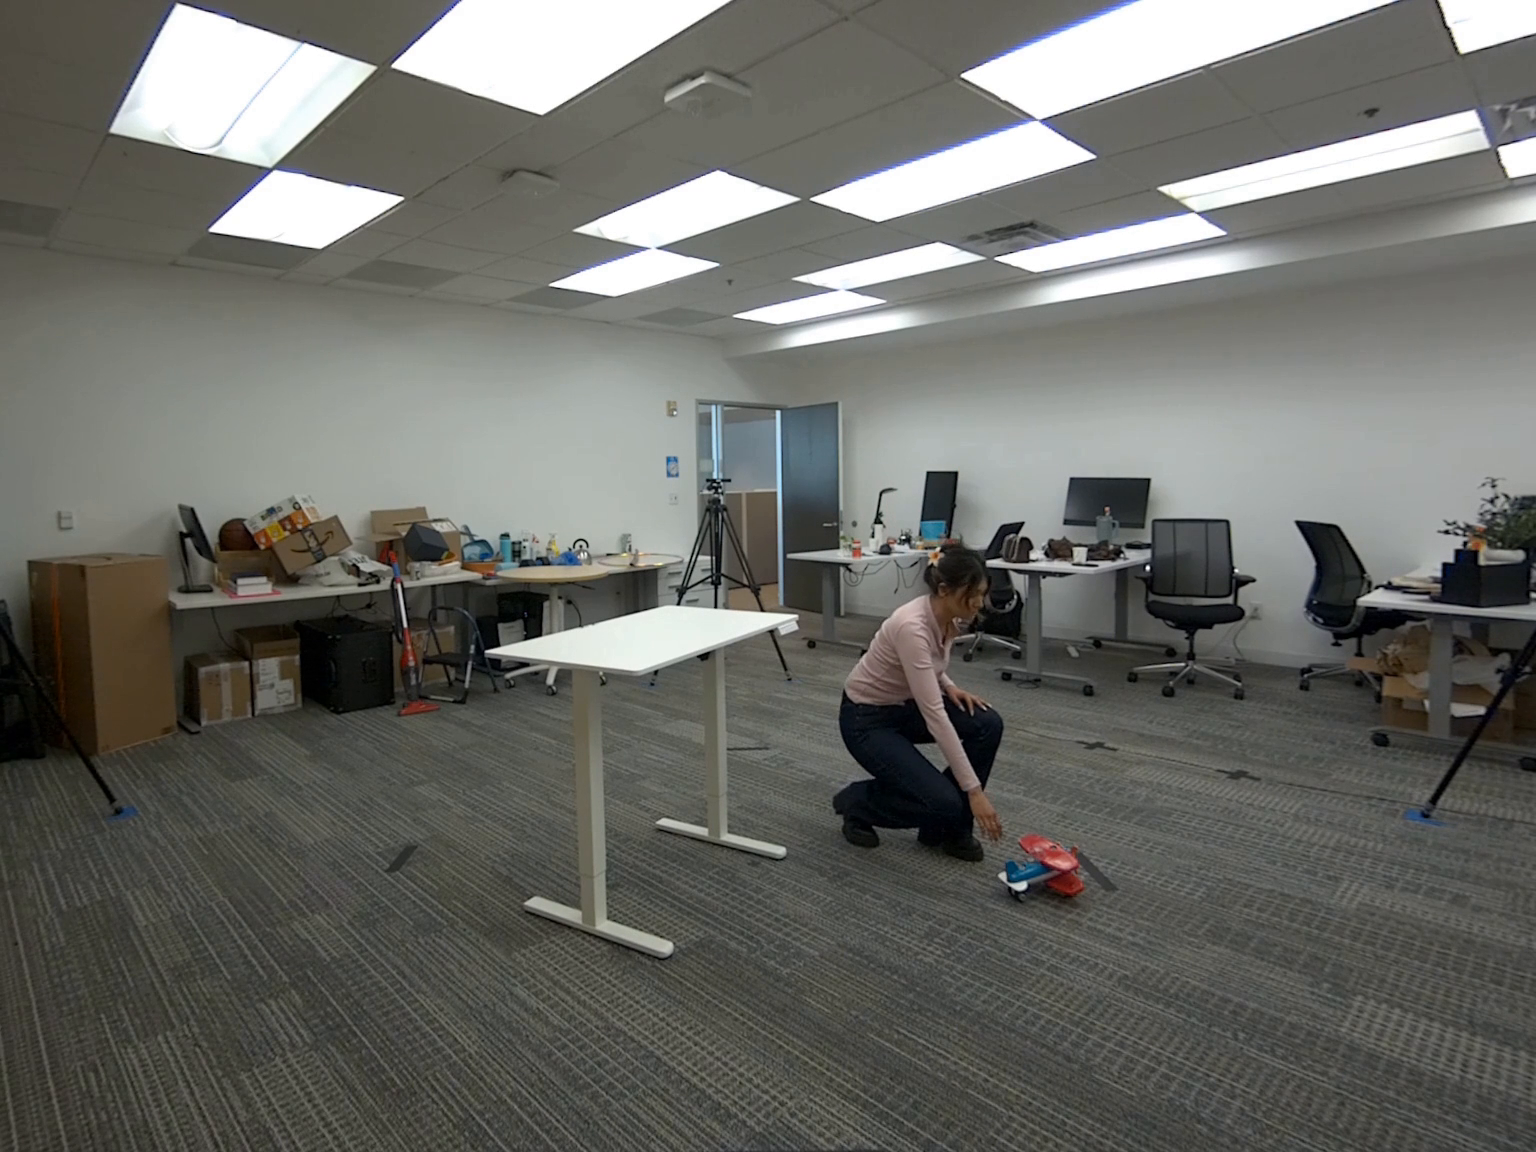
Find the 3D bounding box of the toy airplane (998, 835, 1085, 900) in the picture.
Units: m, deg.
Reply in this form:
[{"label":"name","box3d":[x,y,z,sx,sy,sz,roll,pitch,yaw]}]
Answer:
[{"label":"toy airplane","box3d":[0.915,0.987,2.823,0.259,0.156,0.252,5,7,44]}]
